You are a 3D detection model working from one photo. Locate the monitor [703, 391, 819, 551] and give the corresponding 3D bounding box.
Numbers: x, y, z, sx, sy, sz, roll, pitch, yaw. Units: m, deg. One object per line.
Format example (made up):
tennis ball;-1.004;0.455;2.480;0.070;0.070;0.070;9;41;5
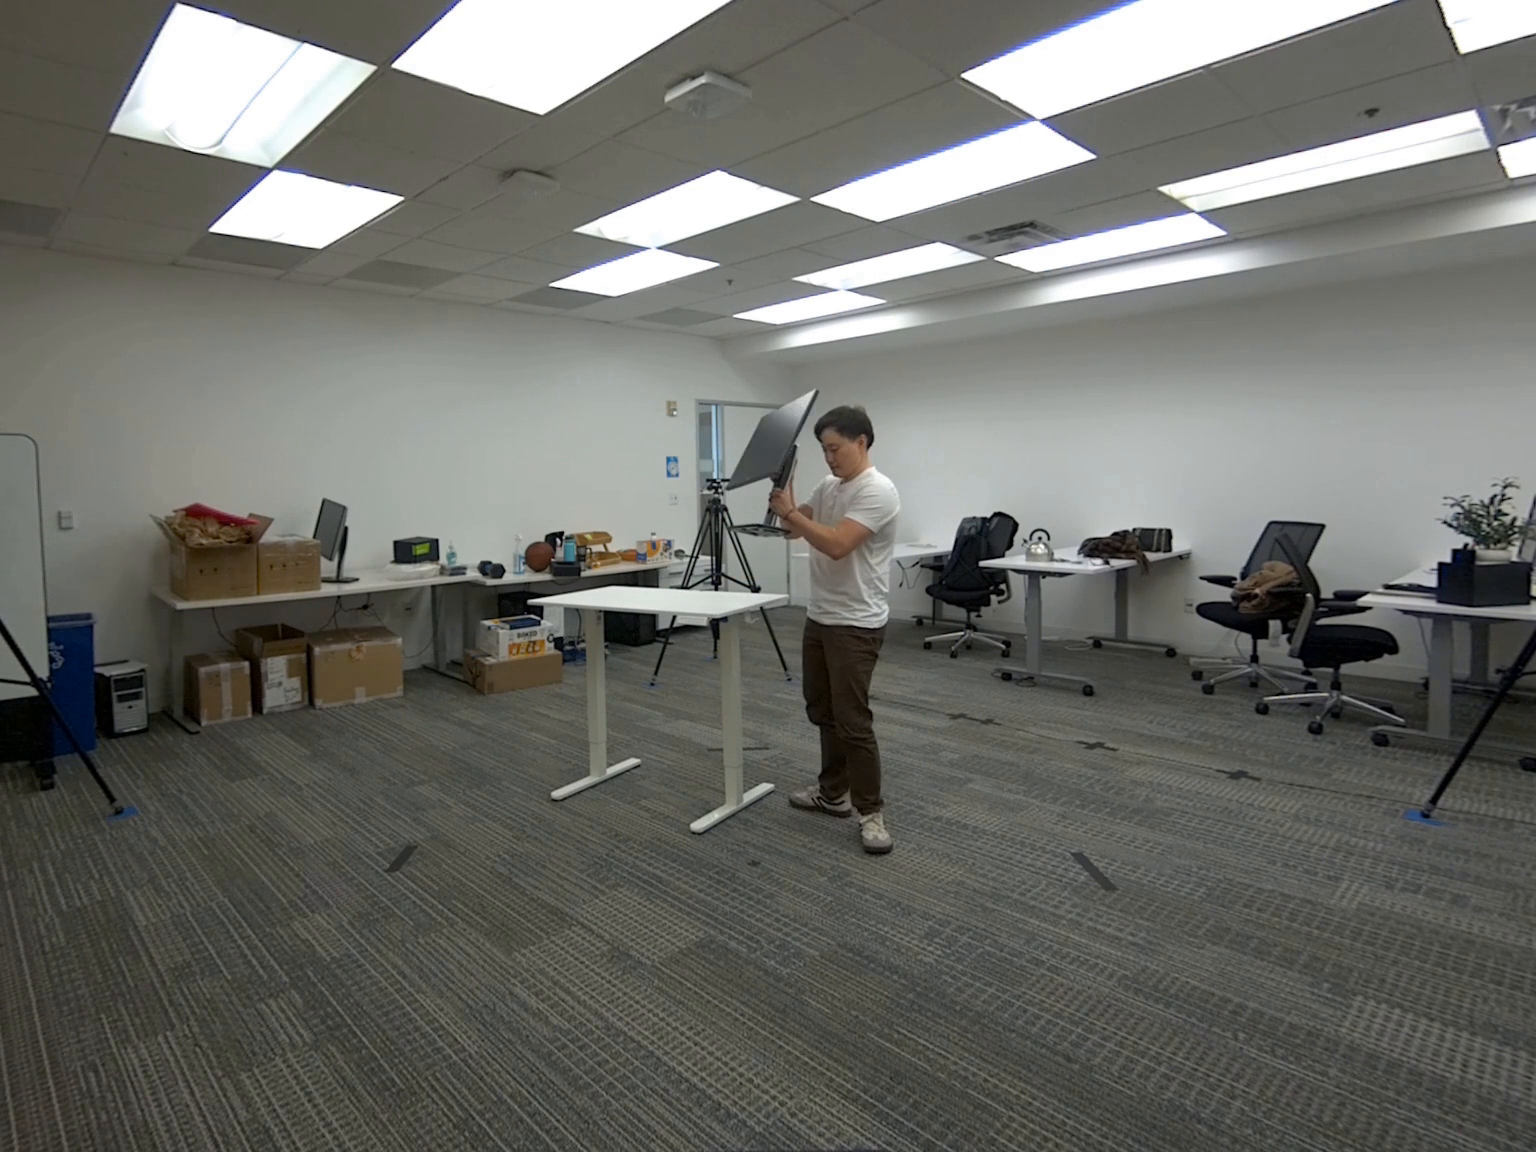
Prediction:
monitor;0.018;-0.417;3.276;0.183;0.525;0.548;16;-8;-22
